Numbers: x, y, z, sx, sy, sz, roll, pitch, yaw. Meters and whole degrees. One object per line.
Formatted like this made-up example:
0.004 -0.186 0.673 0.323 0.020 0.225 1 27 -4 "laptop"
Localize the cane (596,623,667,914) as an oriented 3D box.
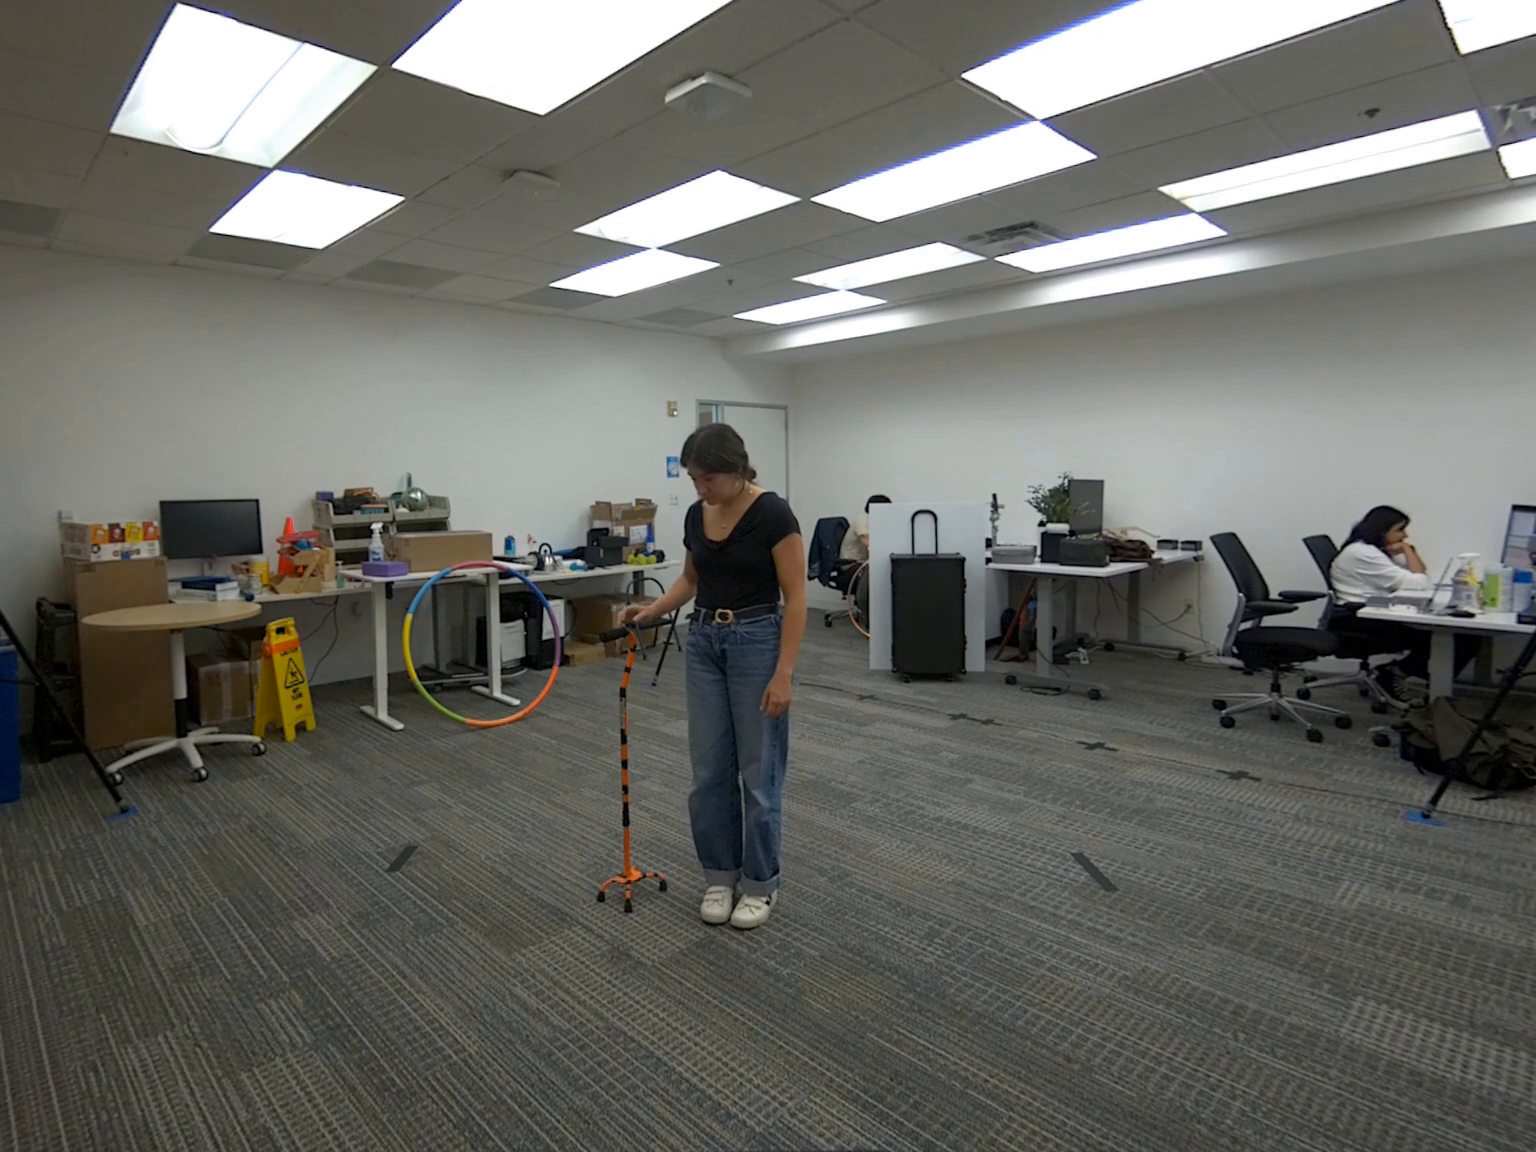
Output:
-0.465 0.629 2.858 0.156 0.903 0.202 2 6 30 "cane"
